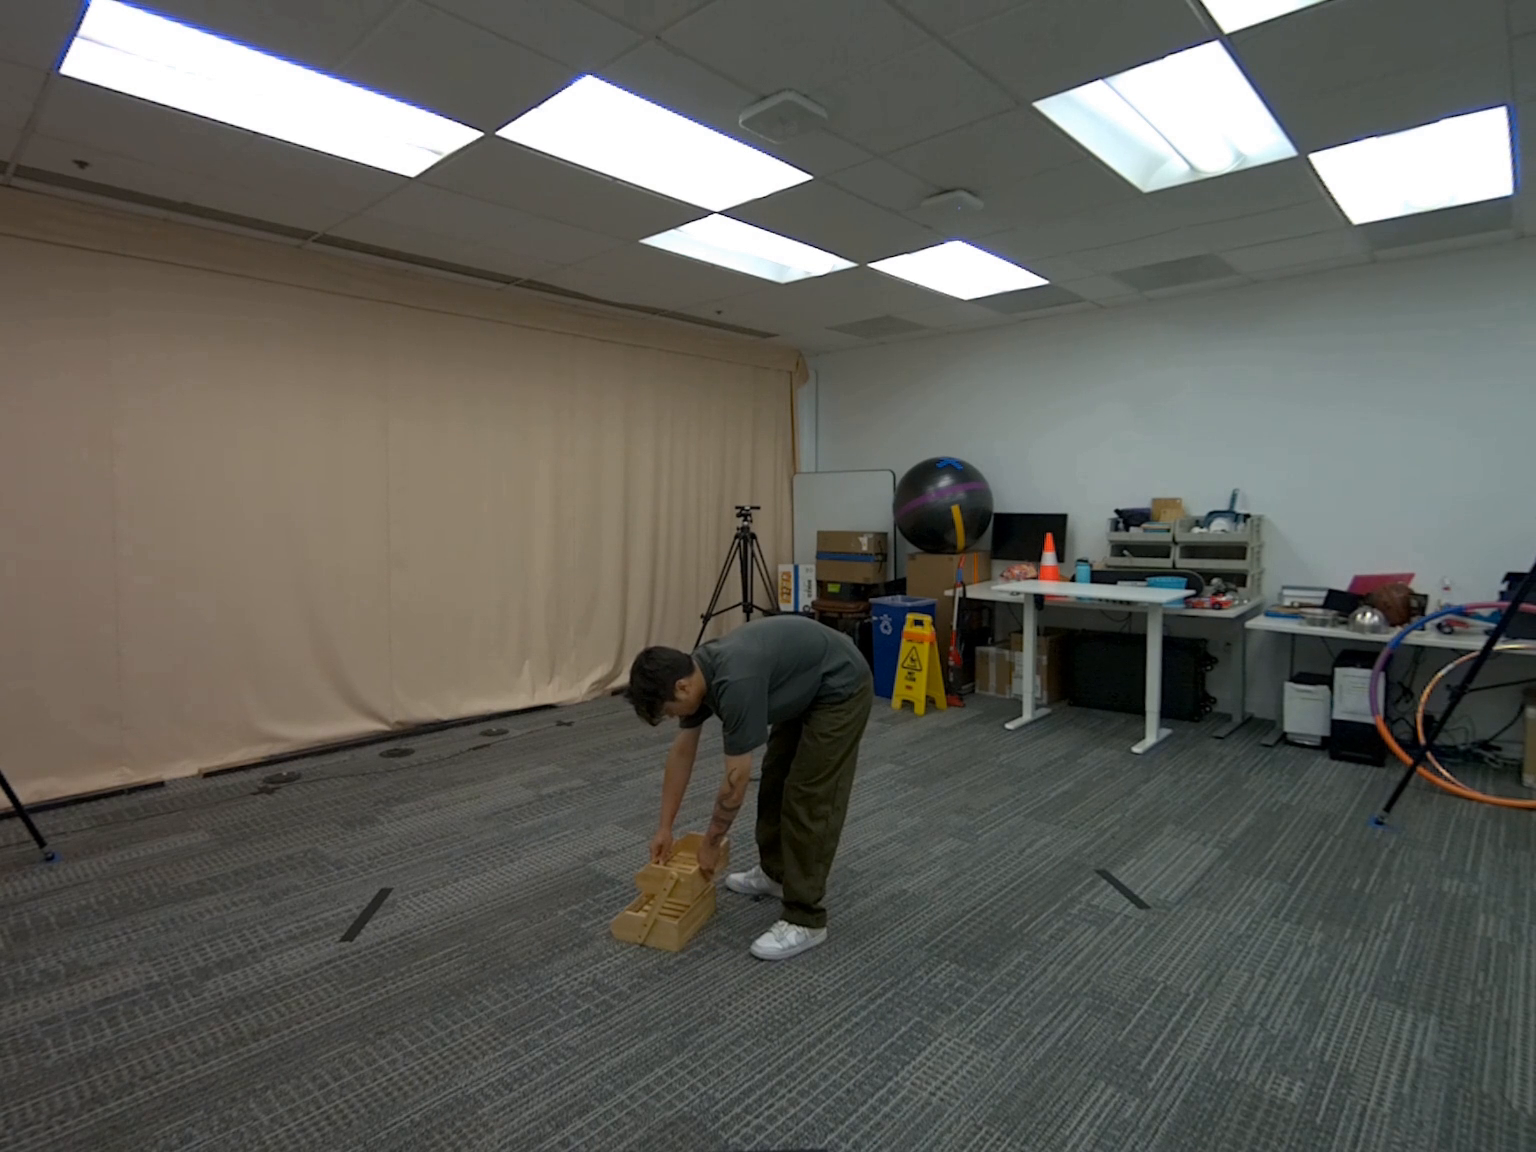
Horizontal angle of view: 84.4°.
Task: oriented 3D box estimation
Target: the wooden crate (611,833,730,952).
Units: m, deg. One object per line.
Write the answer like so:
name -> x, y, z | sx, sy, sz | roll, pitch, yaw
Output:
wooden crate -> -0.330, 1.039, 2.792 | 0.309, 0.272, 0.318 | -1, 5, 21
